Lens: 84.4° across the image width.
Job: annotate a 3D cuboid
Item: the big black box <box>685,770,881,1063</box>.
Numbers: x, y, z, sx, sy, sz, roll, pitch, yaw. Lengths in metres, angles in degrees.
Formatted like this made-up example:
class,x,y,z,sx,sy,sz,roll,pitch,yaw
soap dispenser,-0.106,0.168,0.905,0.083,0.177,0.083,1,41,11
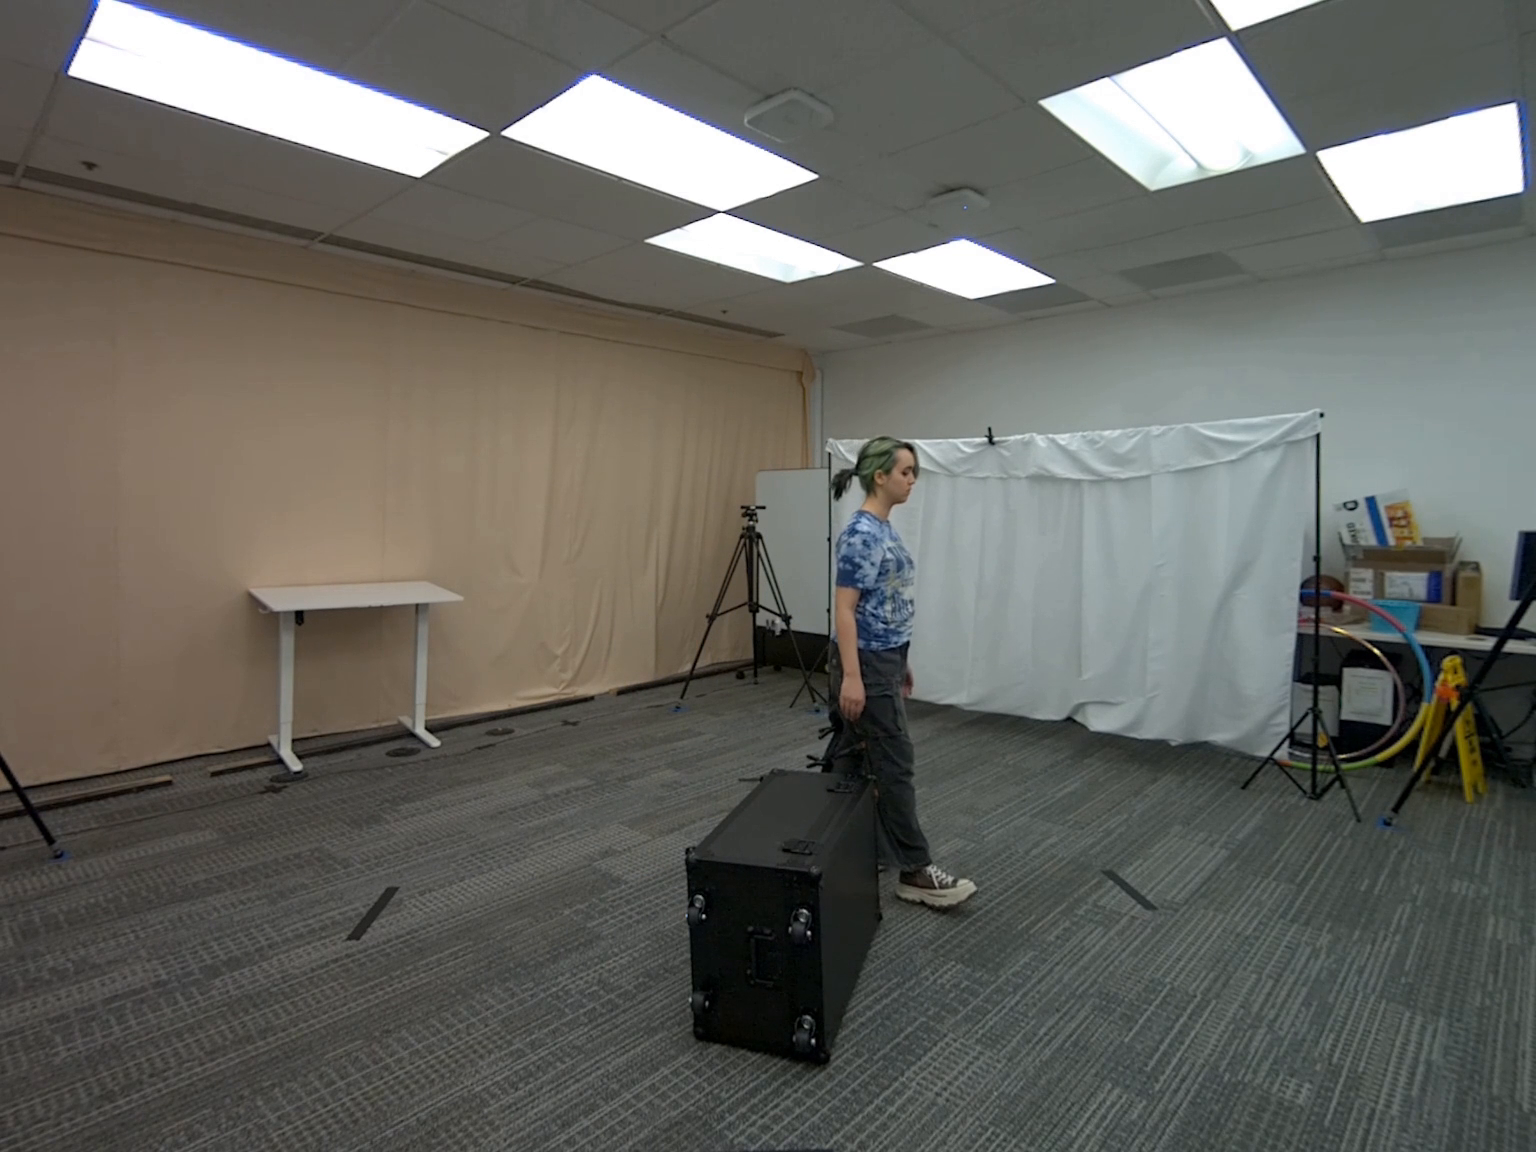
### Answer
class,x,y,z,sx,sy,sz,roll,pitch,yaw
big black box,0.059,0.931,2.461,0.404,0.520,0.846,-2,3,18
